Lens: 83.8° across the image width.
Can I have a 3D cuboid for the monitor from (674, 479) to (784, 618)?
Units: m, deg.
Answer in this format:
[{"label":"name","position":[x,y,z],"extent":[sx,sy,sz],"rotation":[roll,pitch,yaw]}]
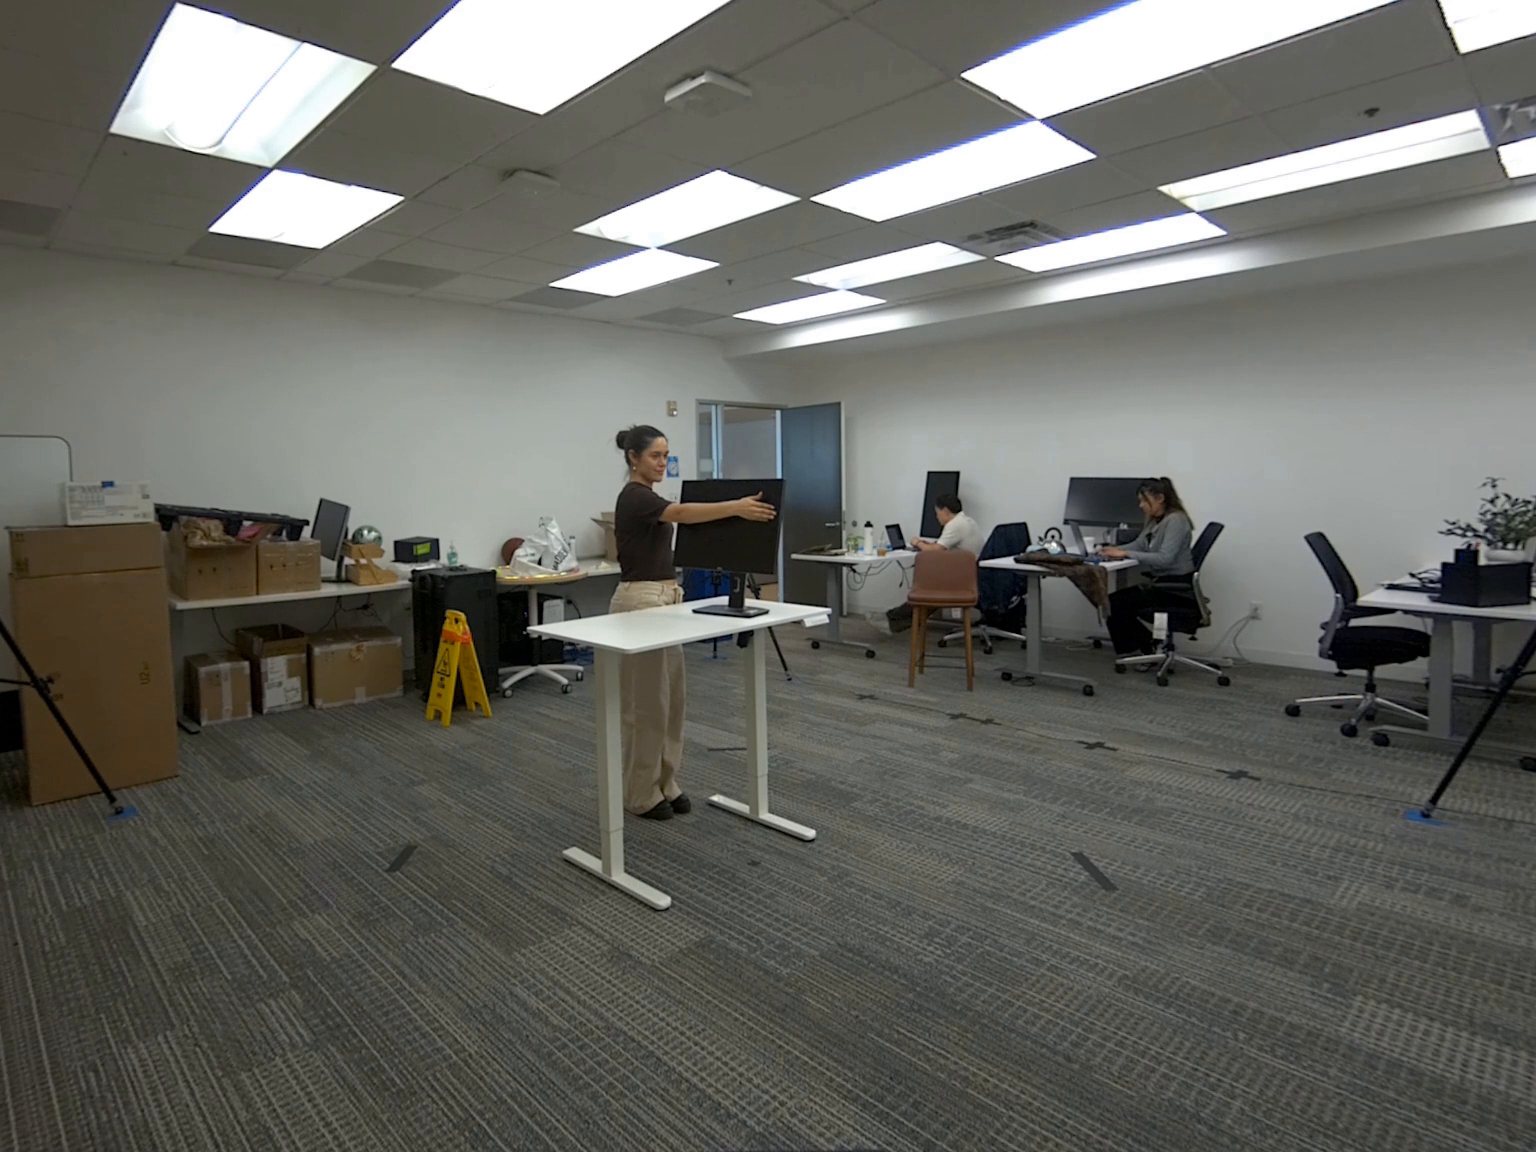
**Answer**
[{"label":"monitor","position":[-0.139,-0.108,3.276],"extent":[0.555,0.520,0.182],"rotation":[3,6,42]}]
